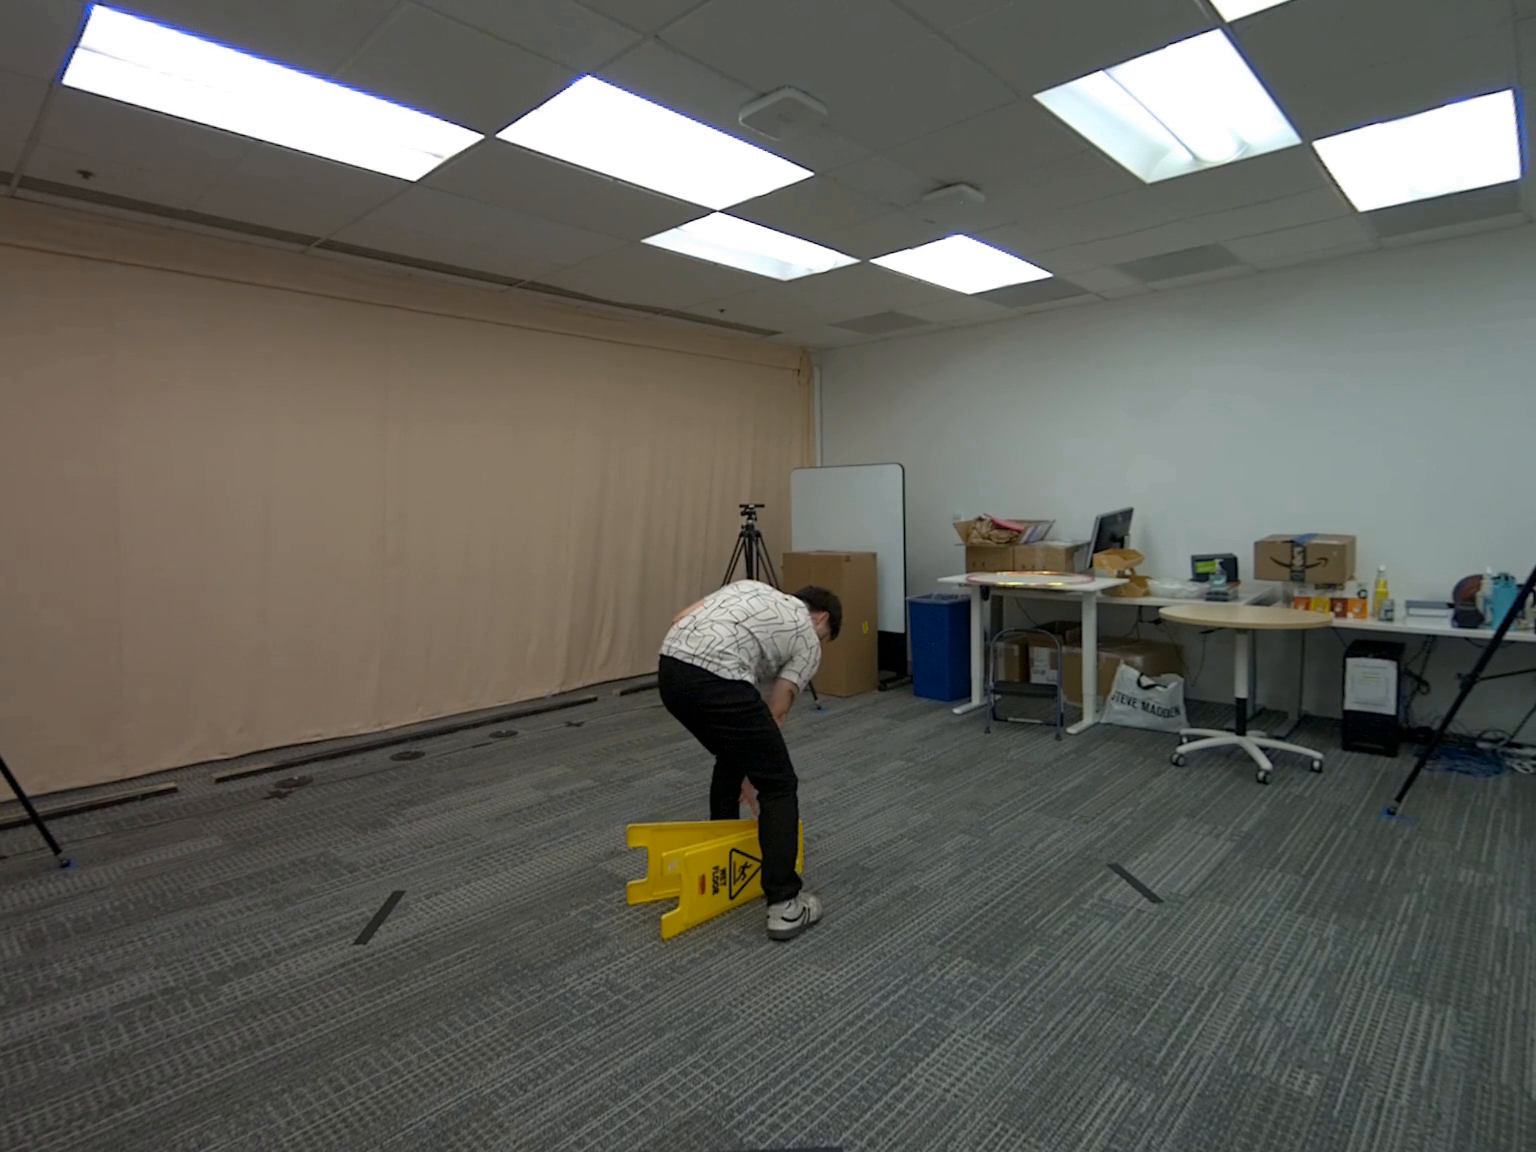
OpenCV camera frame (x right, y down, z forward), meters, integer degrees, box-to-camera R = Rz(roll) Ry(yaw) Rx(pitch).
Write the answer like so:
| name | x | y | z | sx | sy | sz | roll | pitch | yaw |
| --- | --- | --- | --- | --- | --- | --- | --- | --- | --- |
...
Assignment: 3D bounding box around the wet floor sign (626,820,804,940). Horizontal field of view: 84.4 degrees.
| name | x | y | z | sx | sy | sz | roll | pitch | yaw |
| --- | --- | --- | --- | --- | --- | --- | --- | --- | --- |
| wet floor sign | -0.145 | 1.011 | 2.980 | 0.628 | 0.282 | 0.298 | -2 | 3 | -30 |
